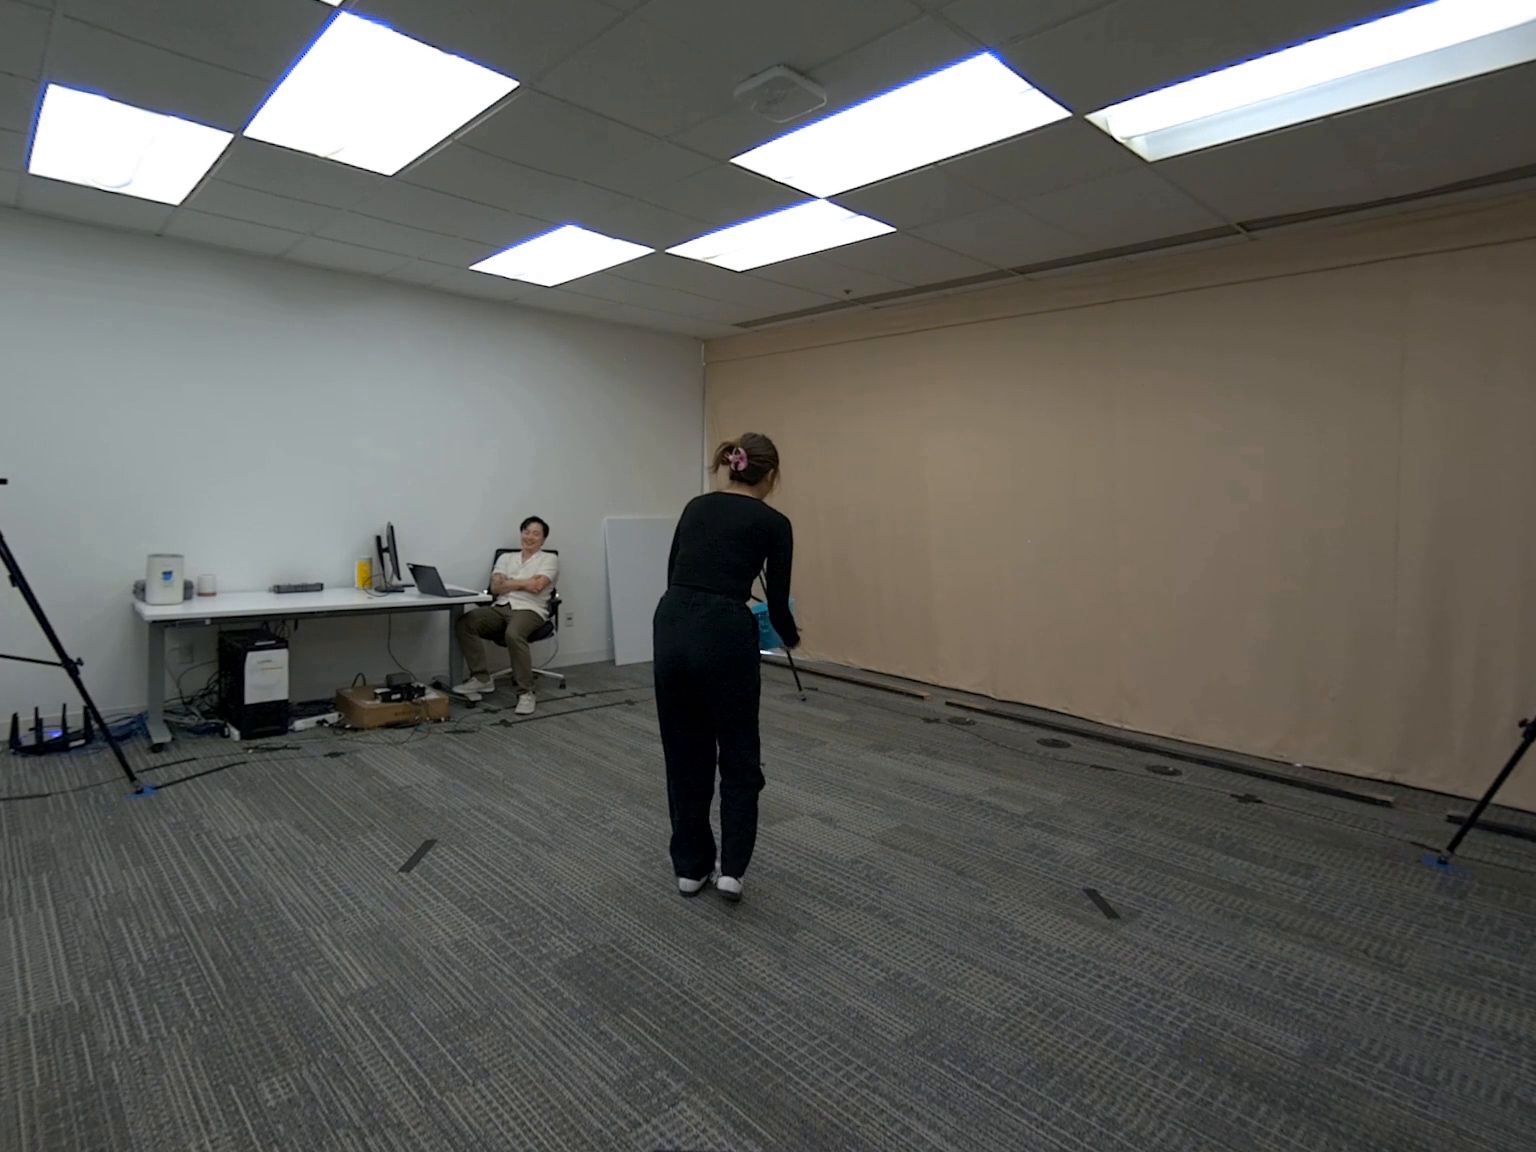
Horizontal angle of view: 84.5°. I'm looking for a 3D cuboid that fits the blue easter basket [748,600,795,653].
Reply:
[{"bbox_3d":[0.004,0.195,3.252,0.243,0.155,0.245,-14,6,0],"label":"blue easter basket"}]
